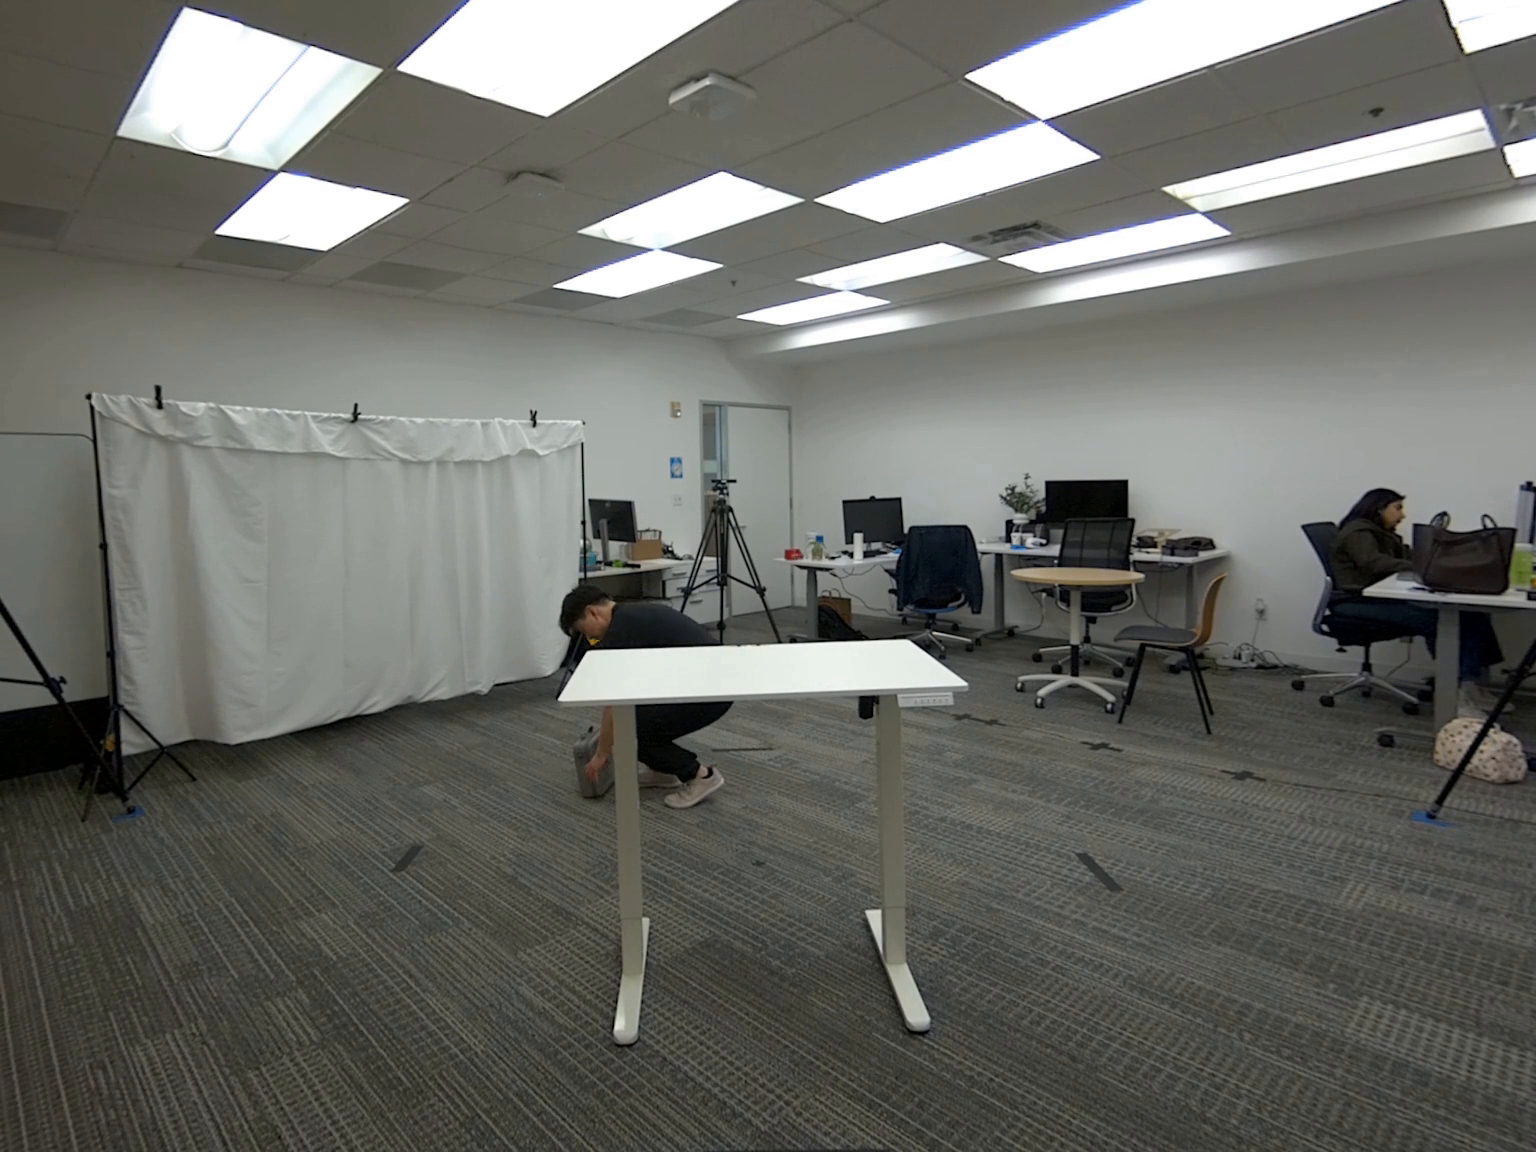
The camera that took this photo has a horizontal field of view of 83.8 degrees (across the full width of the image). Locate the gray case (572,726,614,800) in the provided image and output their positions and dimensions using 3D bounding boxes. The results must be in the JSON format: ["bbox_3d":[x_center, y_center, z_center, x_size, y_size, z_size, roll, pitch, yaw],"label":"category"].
[{"bbox_3d":[-0.793,0.846,3.900,0.105,0.261,0.255,-10,1,6],"label":"gray case"}]
